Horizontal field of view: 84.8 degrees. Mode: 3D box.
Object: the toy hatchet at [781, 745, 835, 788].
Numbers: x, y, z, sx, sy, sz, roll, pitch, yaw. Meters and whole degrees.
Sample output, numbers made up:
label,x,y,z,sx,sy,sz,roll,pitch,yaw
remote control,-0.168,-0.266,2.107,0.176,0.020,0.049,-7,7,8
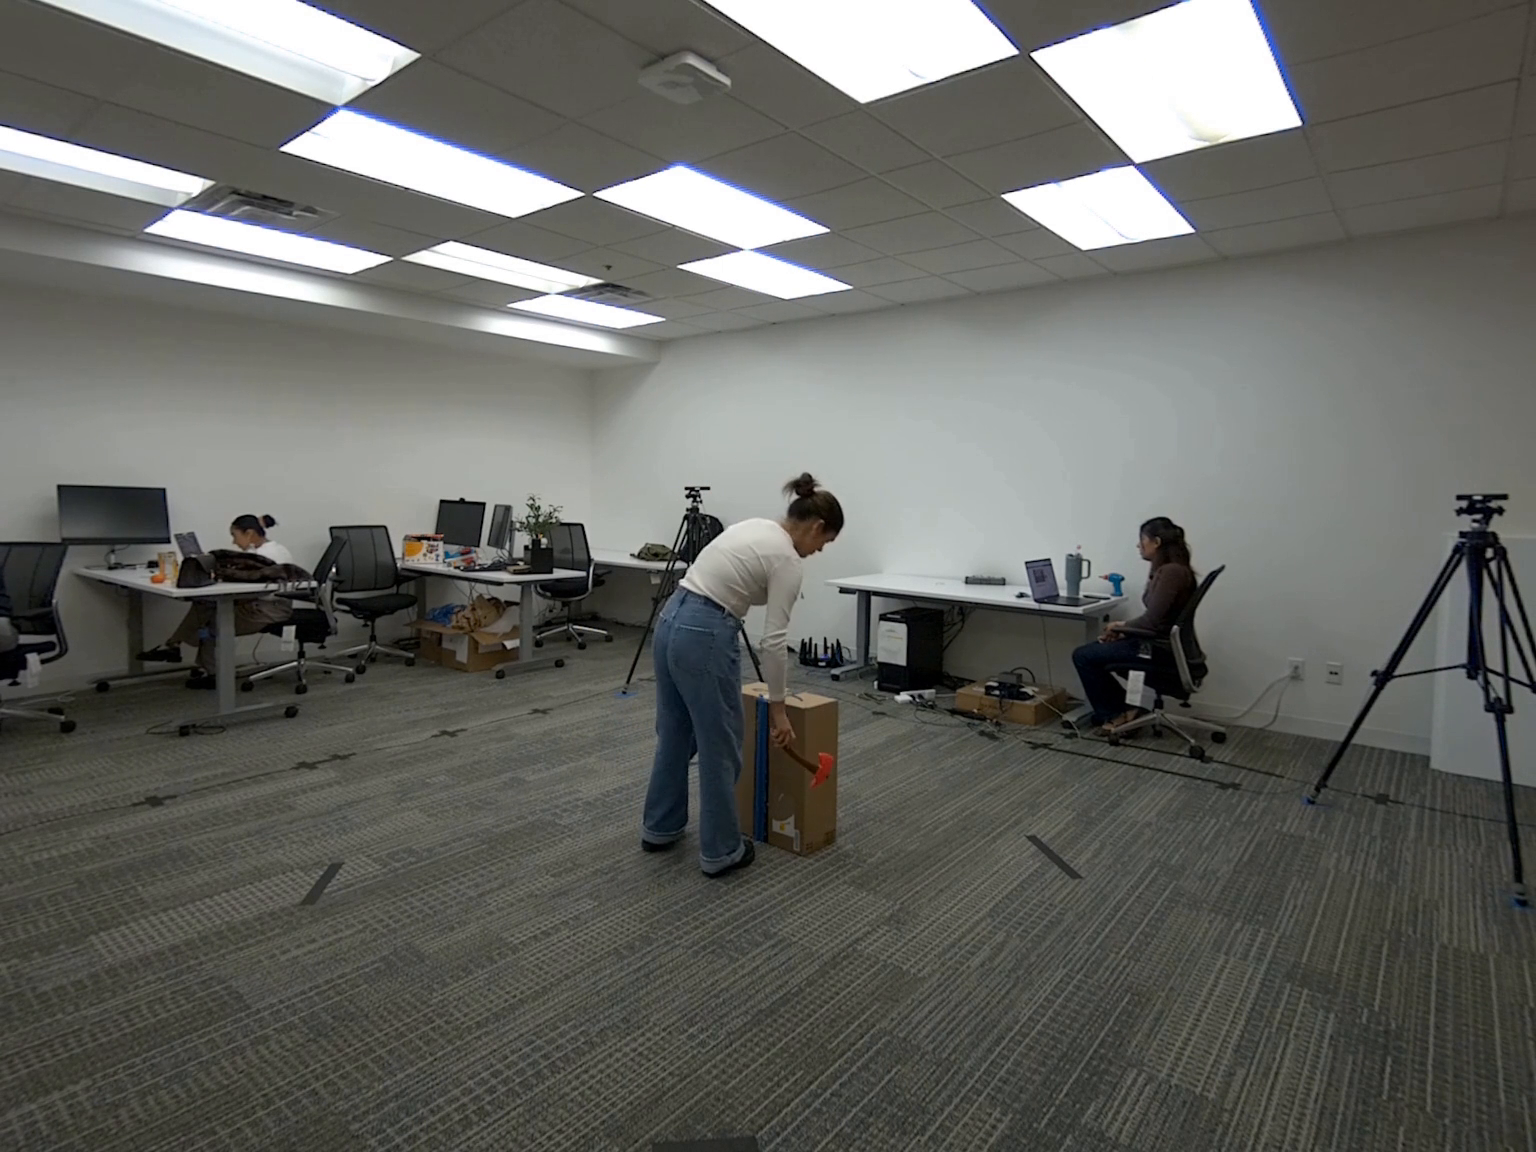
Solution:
label,x,y,z,sx,sy,sz,roll,pitch,yaw
toy hatchet,0.122,0.630,3.012,0.131,0.264,0.030,-38,16,-8
